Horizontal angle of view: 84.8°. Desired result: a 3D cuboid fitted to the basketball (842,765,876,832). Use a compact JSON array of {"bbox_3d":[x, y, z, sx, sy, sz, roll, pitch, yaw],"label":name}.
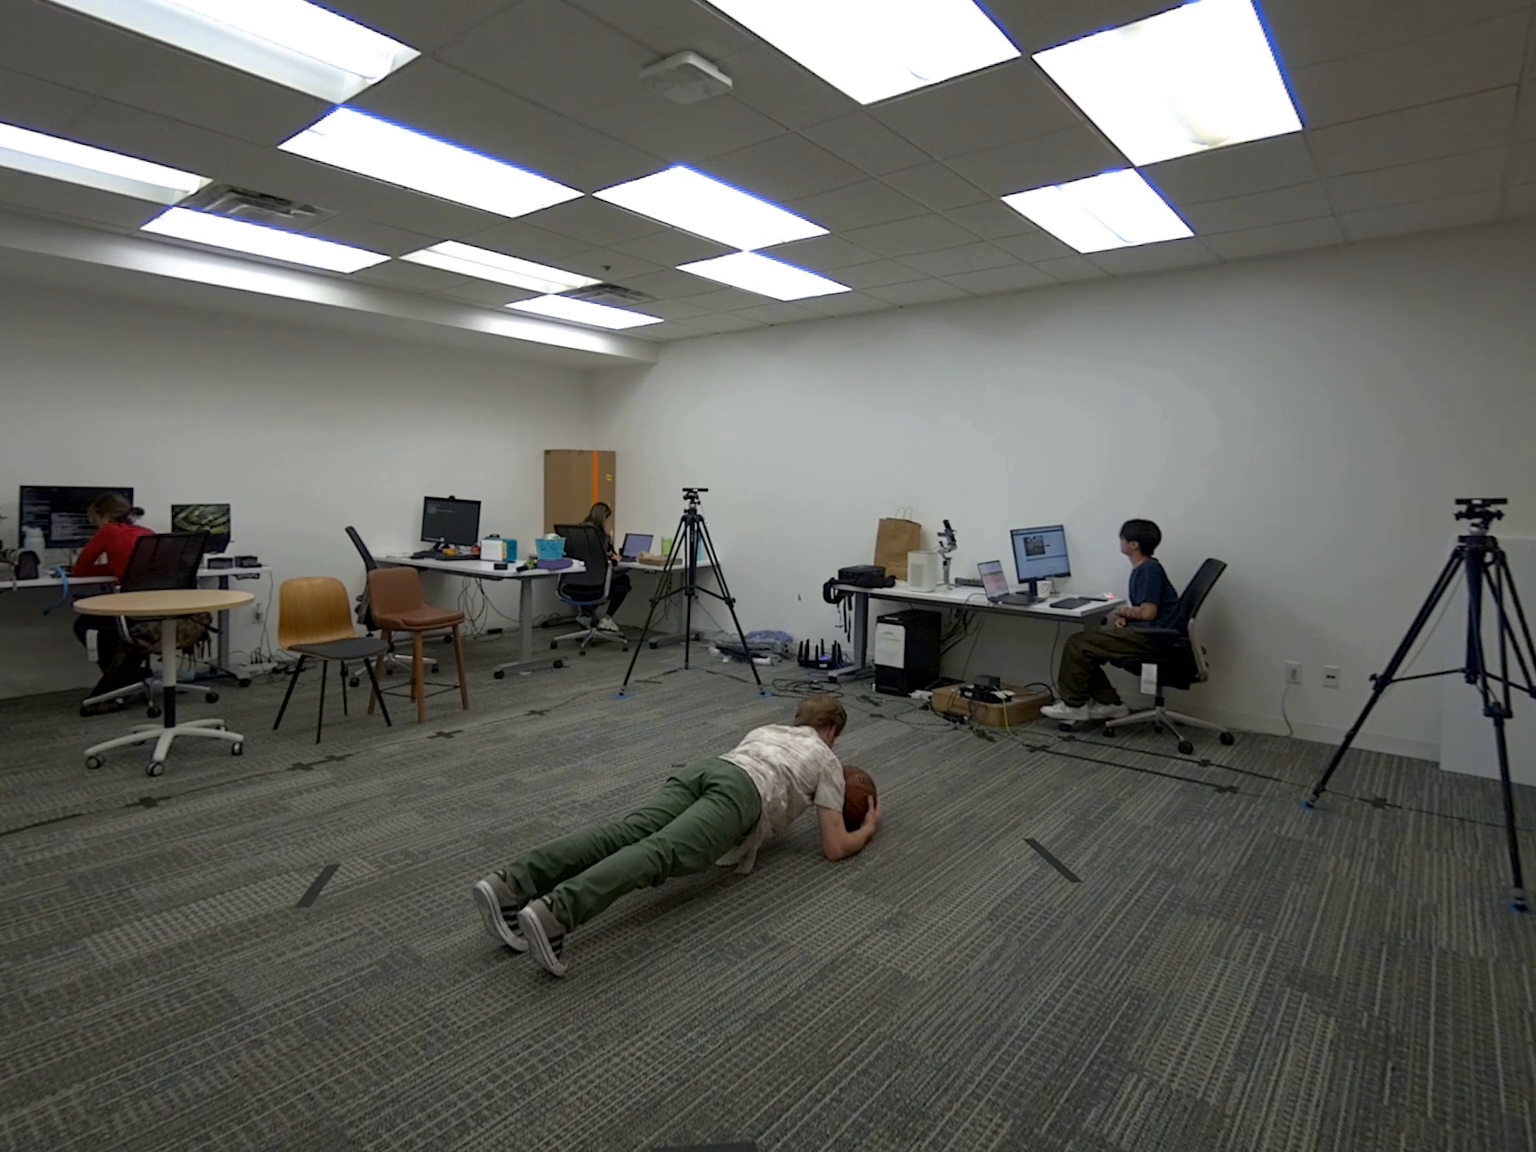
[{"bbox_3d":[0.326,0.914,3.564,0.235,0.235,0.237,1,4,-2],"label":"basketball"}]
